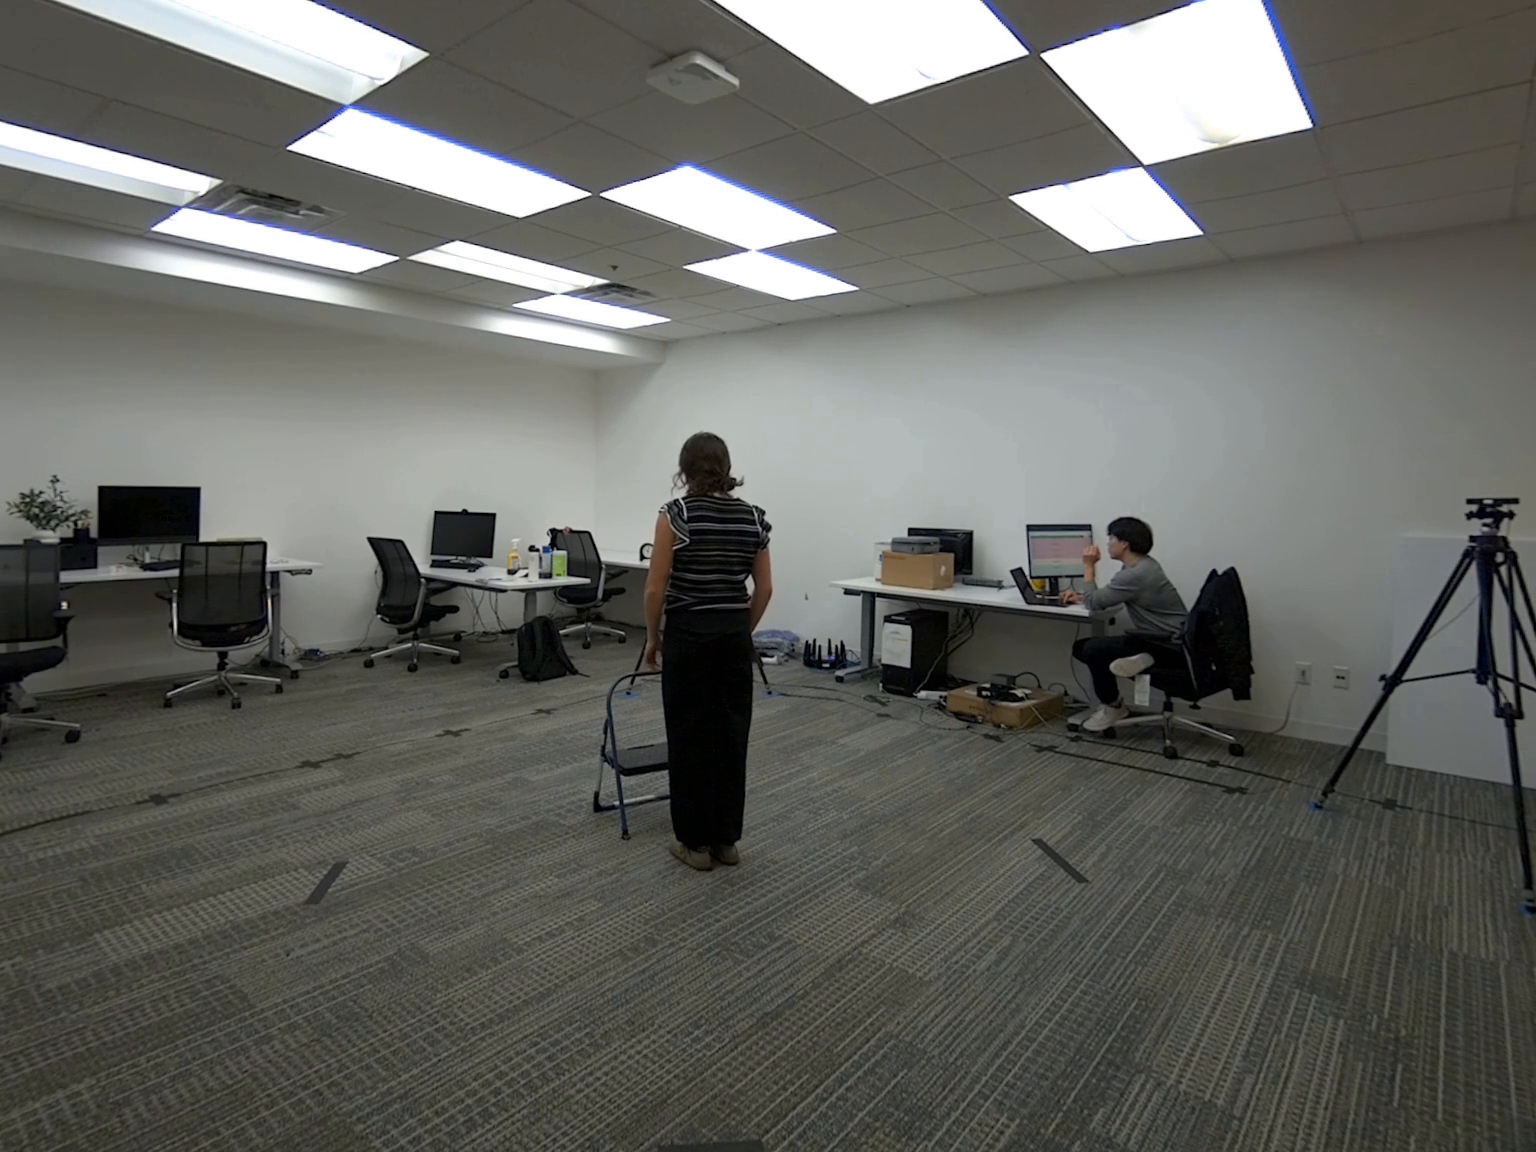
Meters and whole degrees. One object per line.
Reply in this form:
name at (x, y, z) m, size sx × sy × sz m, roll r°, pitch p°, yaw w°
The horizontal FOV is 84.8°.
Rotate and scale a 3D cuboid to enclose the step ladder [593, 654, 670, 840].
step ladder at (-0.496, 0.712, 3.590) m, size 0.418 × 0.604 × 0.360 m, roll -1°, pitch 4°, yaw -33°
